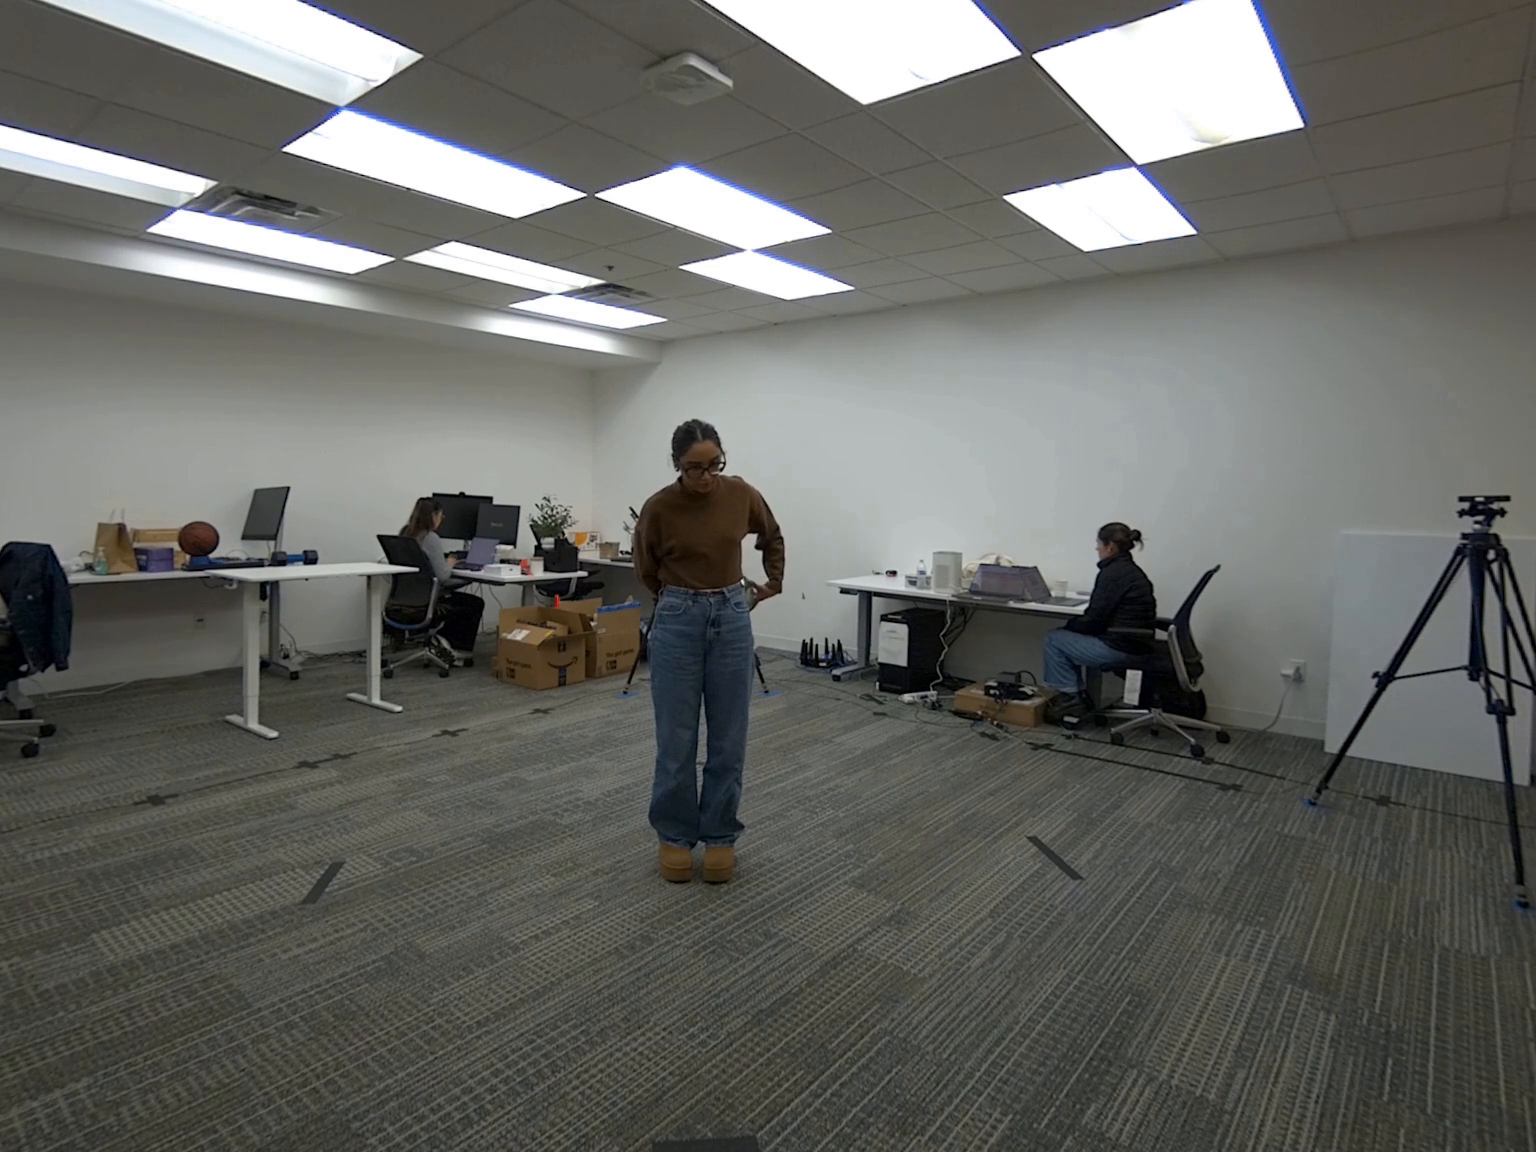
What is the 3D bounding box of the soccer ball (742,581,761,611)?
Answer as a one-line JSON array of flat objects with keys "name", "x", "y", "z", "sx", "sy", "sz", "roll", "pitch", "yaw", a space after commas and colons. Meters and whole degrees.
[{"name": "soccer ball", "x": -0.155, "y": 0.071, "z": 3.243, "sx": 0.187, "sy": 0.187, "sz": 0.188, "roll": 1, "pitch": 4, "yaw": -2}]
